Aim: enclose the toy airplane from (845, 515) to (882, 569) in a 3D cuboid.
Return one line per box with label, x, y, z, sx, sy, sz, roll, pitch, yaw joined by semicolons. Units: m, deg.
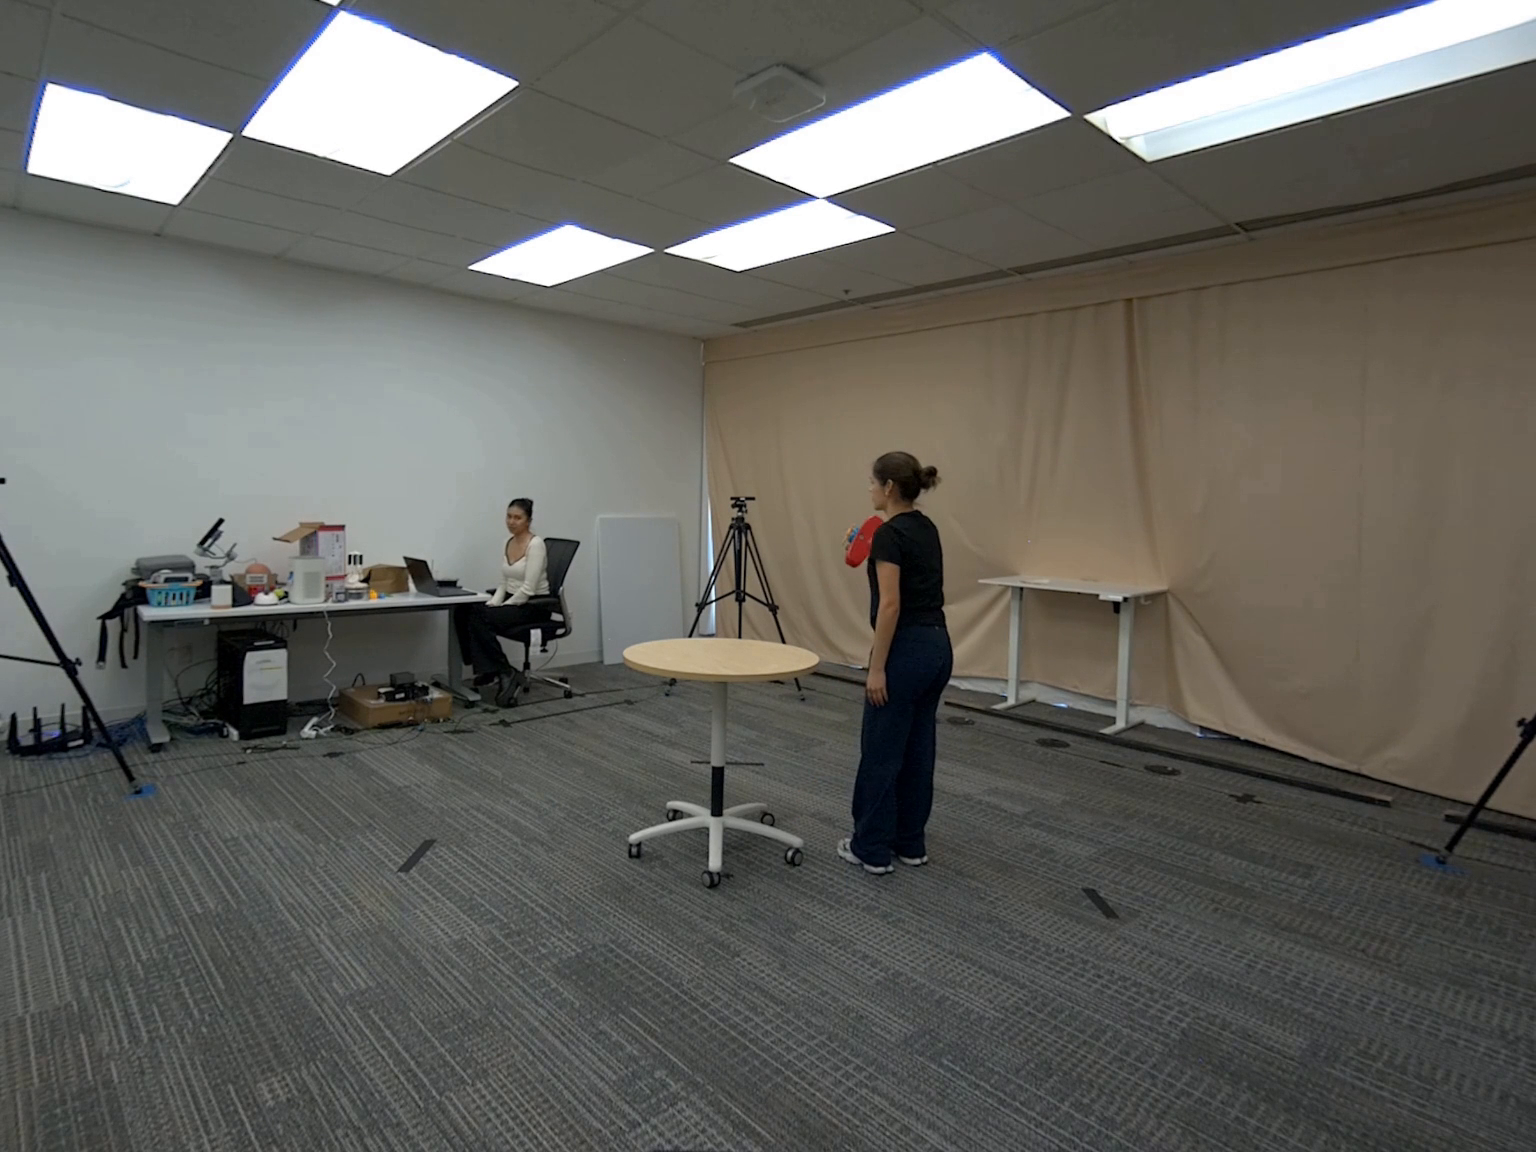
toy airplane;0.482;-0.148;3.956;0.261;0.253;0.154;1;-13;9
